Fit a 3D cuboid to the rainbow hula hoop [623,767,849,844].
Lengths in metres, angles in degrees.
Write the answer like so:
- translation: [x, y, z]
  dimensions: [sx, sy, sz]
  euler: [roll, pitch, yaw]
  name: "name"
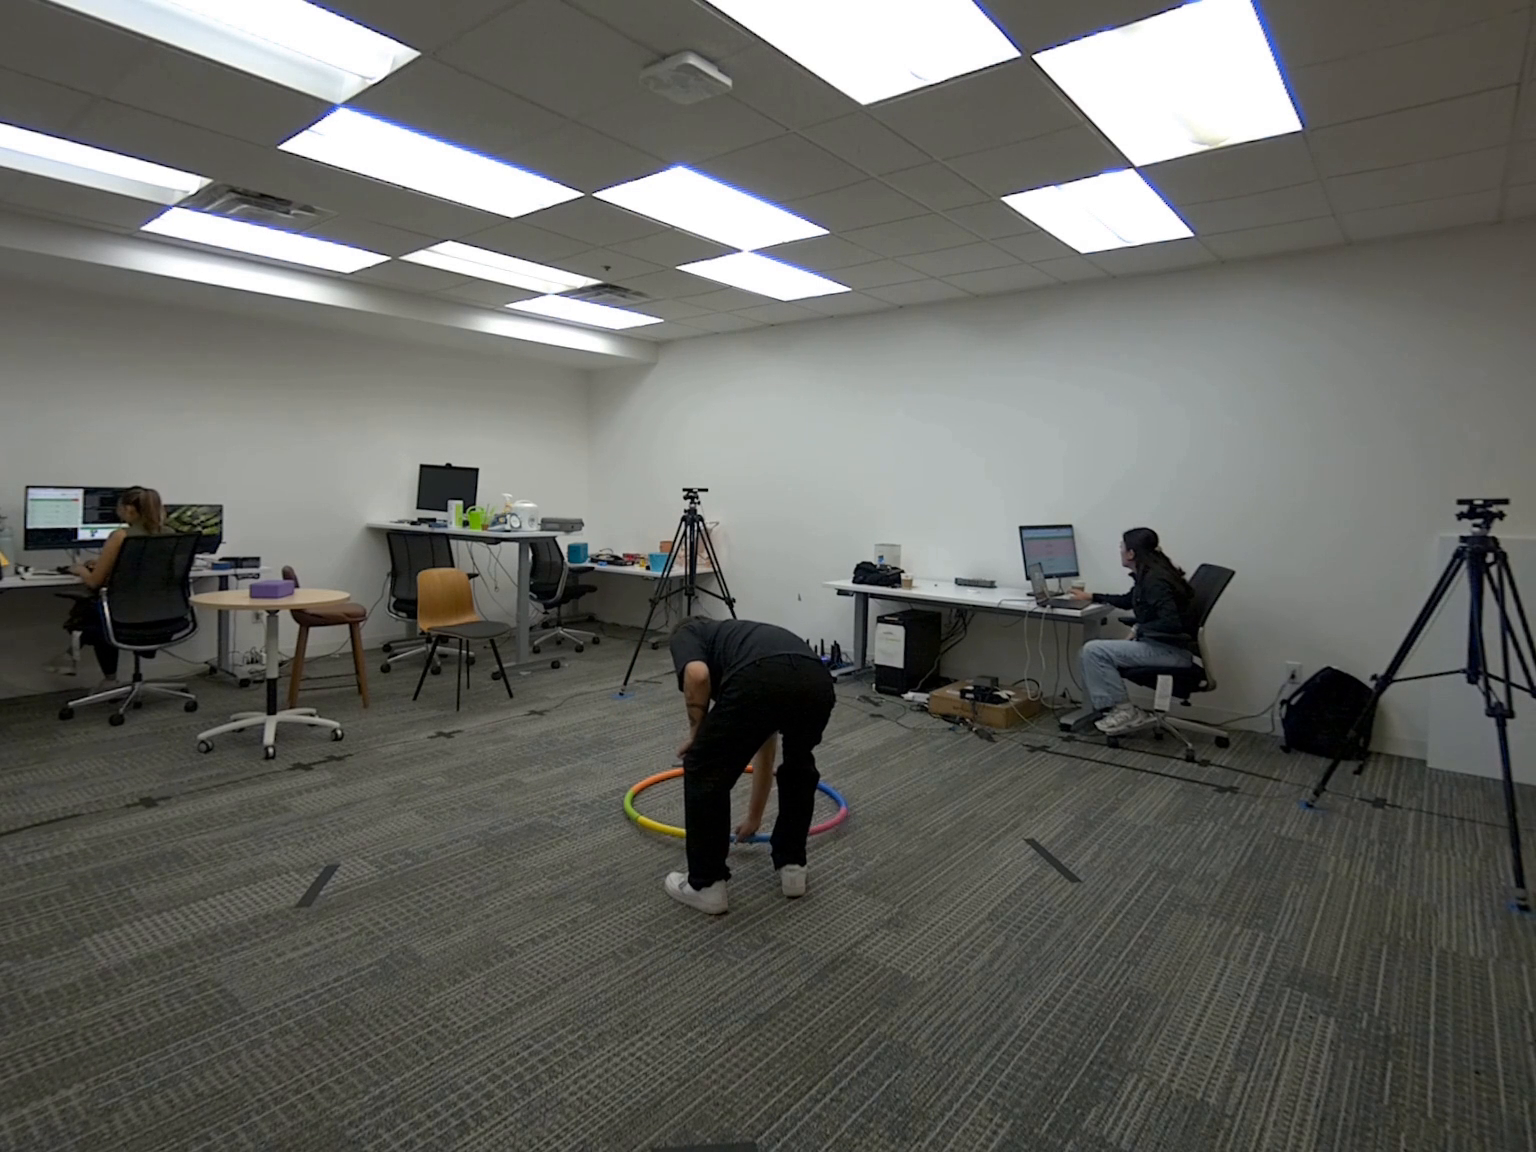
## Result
- translation: [-0.160, 0.969, 3.735]
  dimensions: [0.978, 0.035, 0.981]
  euler: [0, 3, -2]
  name: "rainbow hula hoop"
